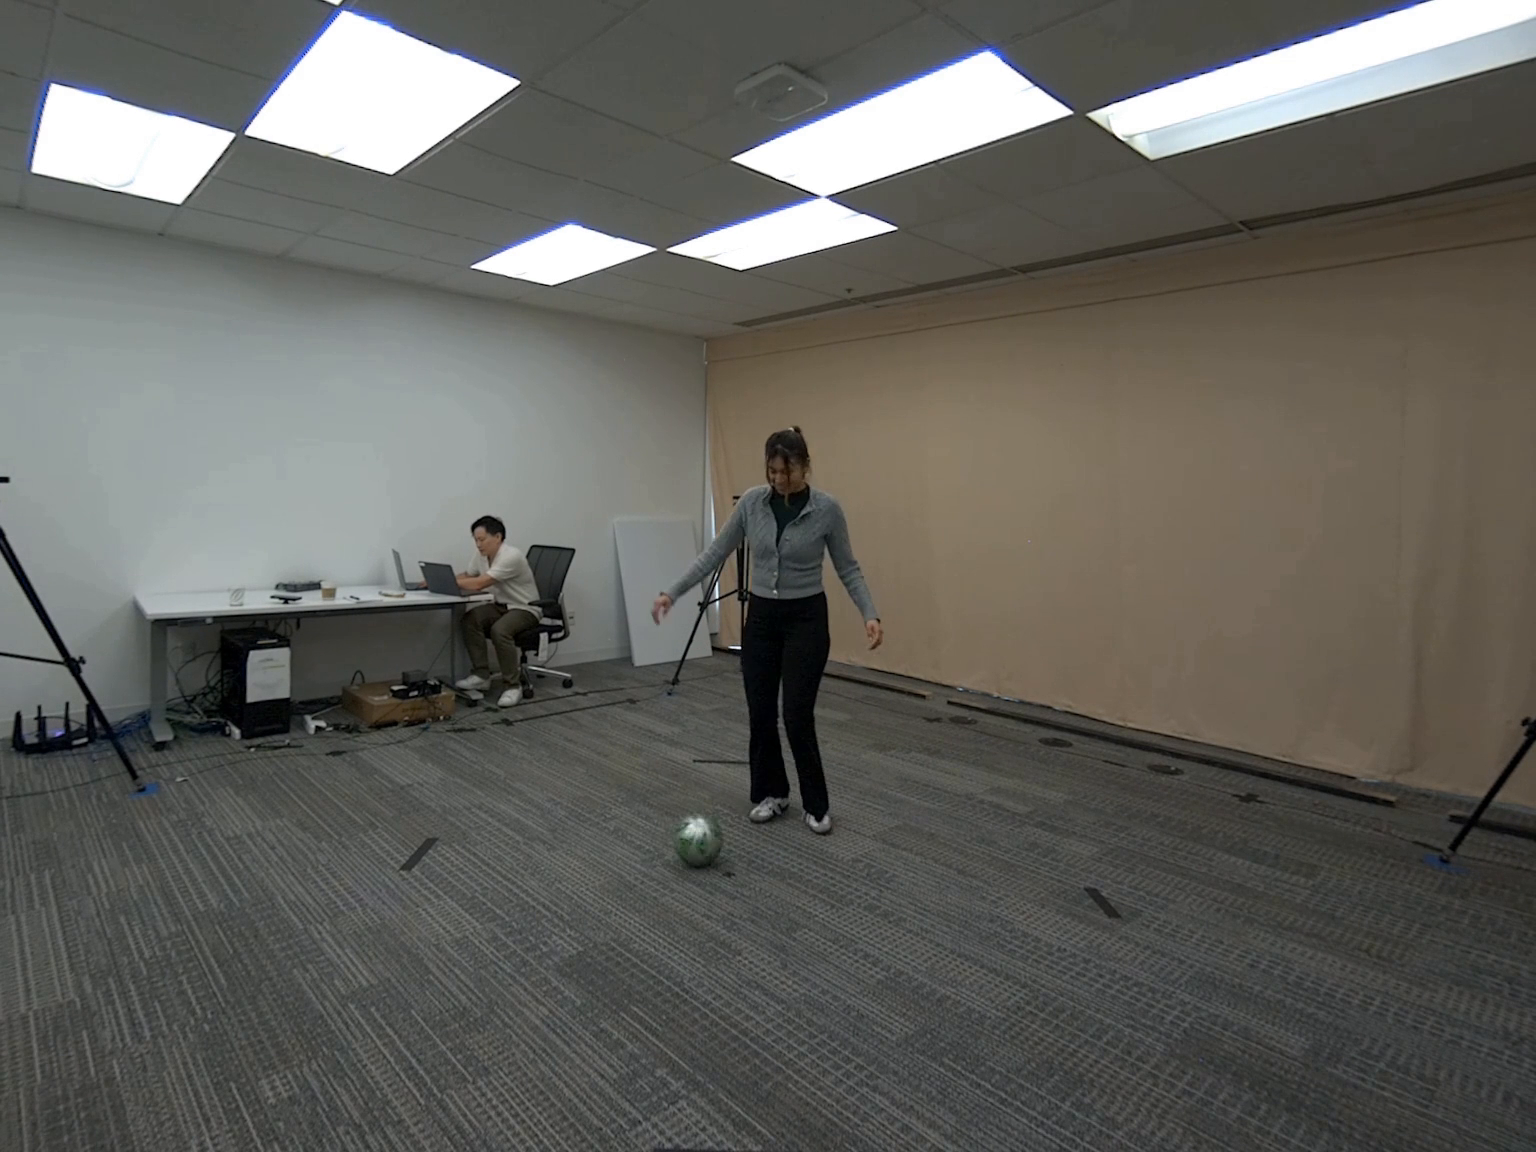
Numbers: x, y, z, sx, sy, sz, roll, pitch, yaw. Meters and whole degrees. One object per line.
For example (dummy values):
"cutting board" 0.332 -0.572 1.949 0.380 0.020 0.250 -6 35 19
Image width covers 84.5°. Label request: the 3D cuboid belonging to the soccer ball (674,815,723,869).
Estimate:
"soccer ball" -0.270 0.998 3.175 0.187 0.187 0.188 1 4 -1
